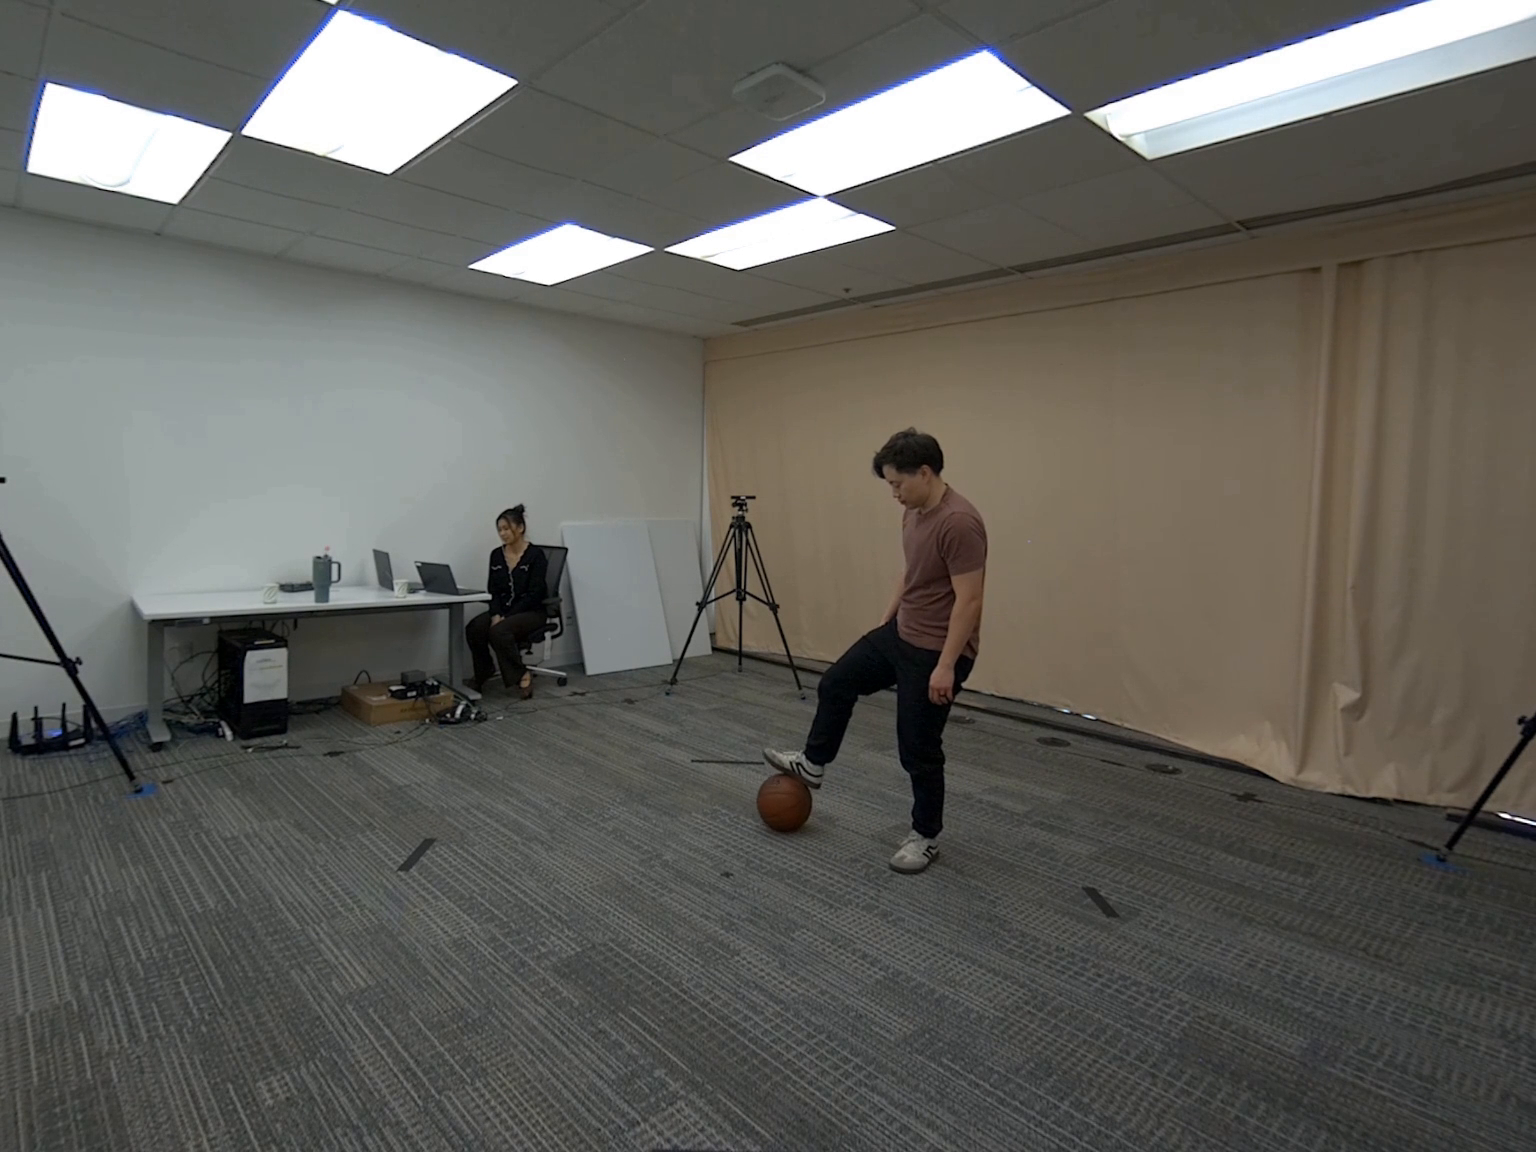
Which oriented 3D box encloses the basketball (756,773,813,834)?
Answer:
[{"bbox_3d":[0.067,0.952,3.546,0.236,0.235,0.237,1,4,-1],"label":"basketball"}]
